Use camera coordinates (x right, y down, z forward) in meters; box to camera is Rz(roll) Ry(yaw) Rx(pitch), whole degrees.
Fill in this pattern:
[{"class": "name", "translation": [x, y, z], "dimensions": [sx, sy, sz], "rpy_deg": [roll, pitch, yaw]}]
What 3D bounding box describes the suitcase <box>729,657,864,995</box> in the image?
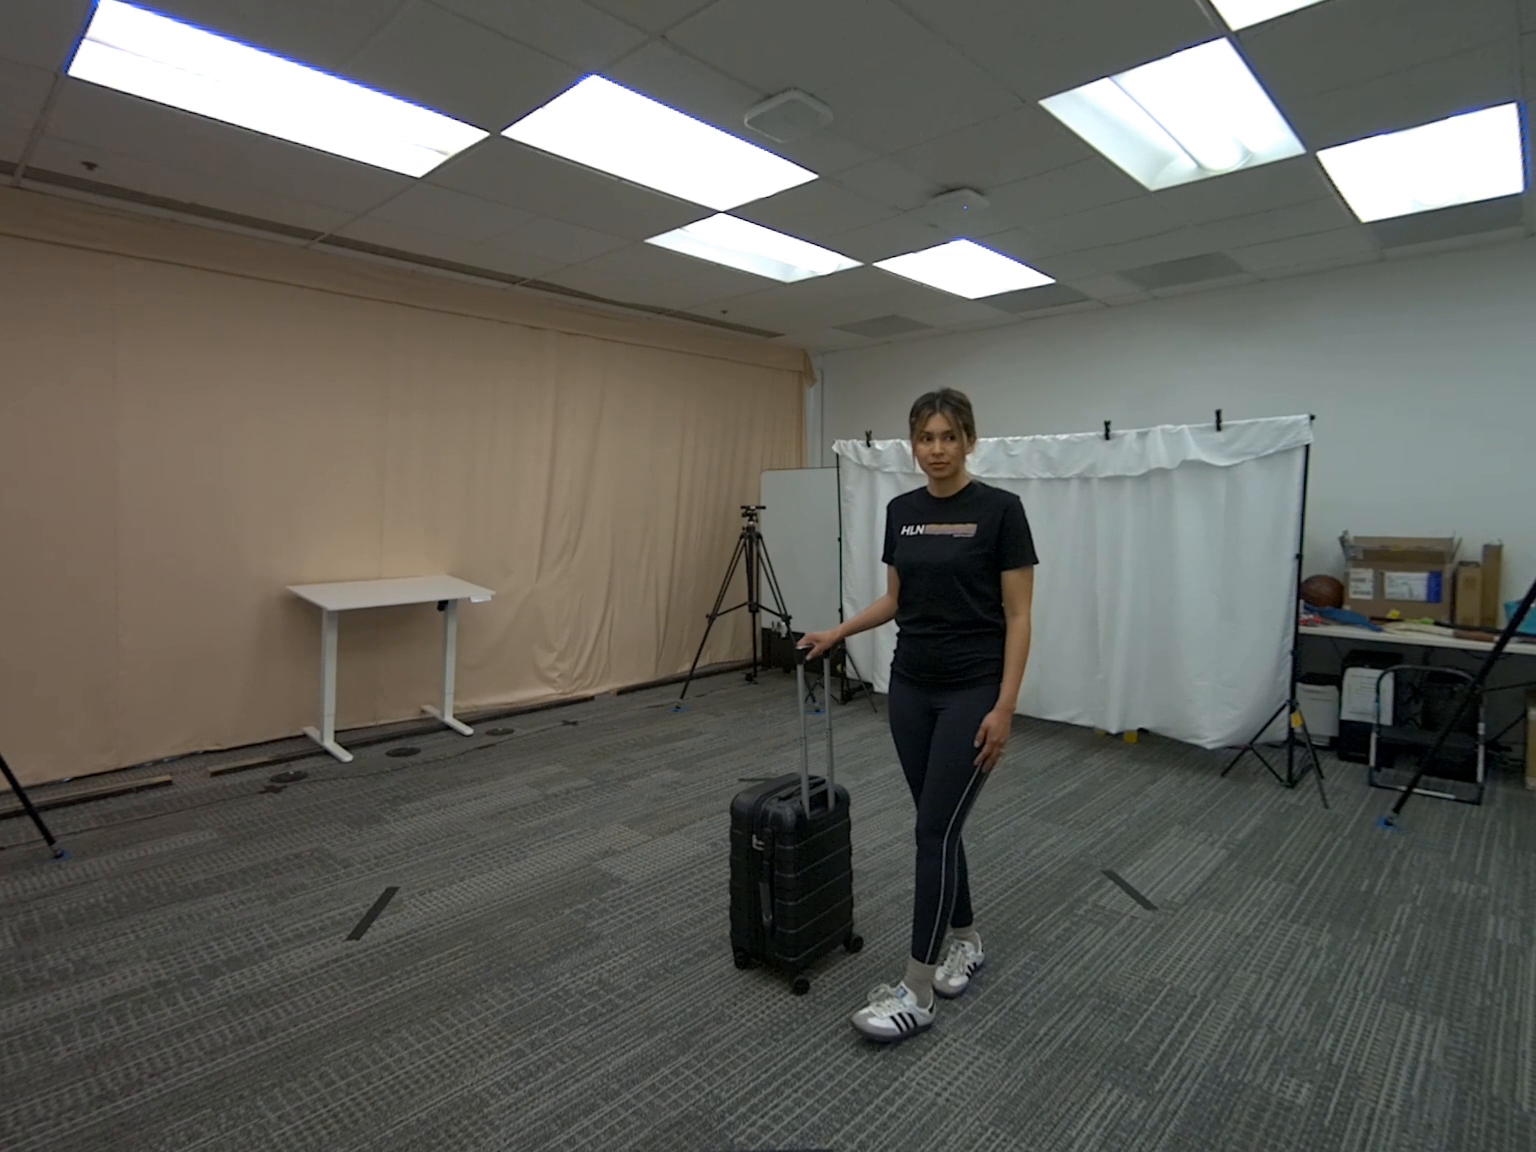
[{"class": "suitcase", "translation": [0.067, 0.703, 2.568], "dimensions": [0.265, 0.977, 0.372], "rpy_deg": [-1, 3, 43]}]
